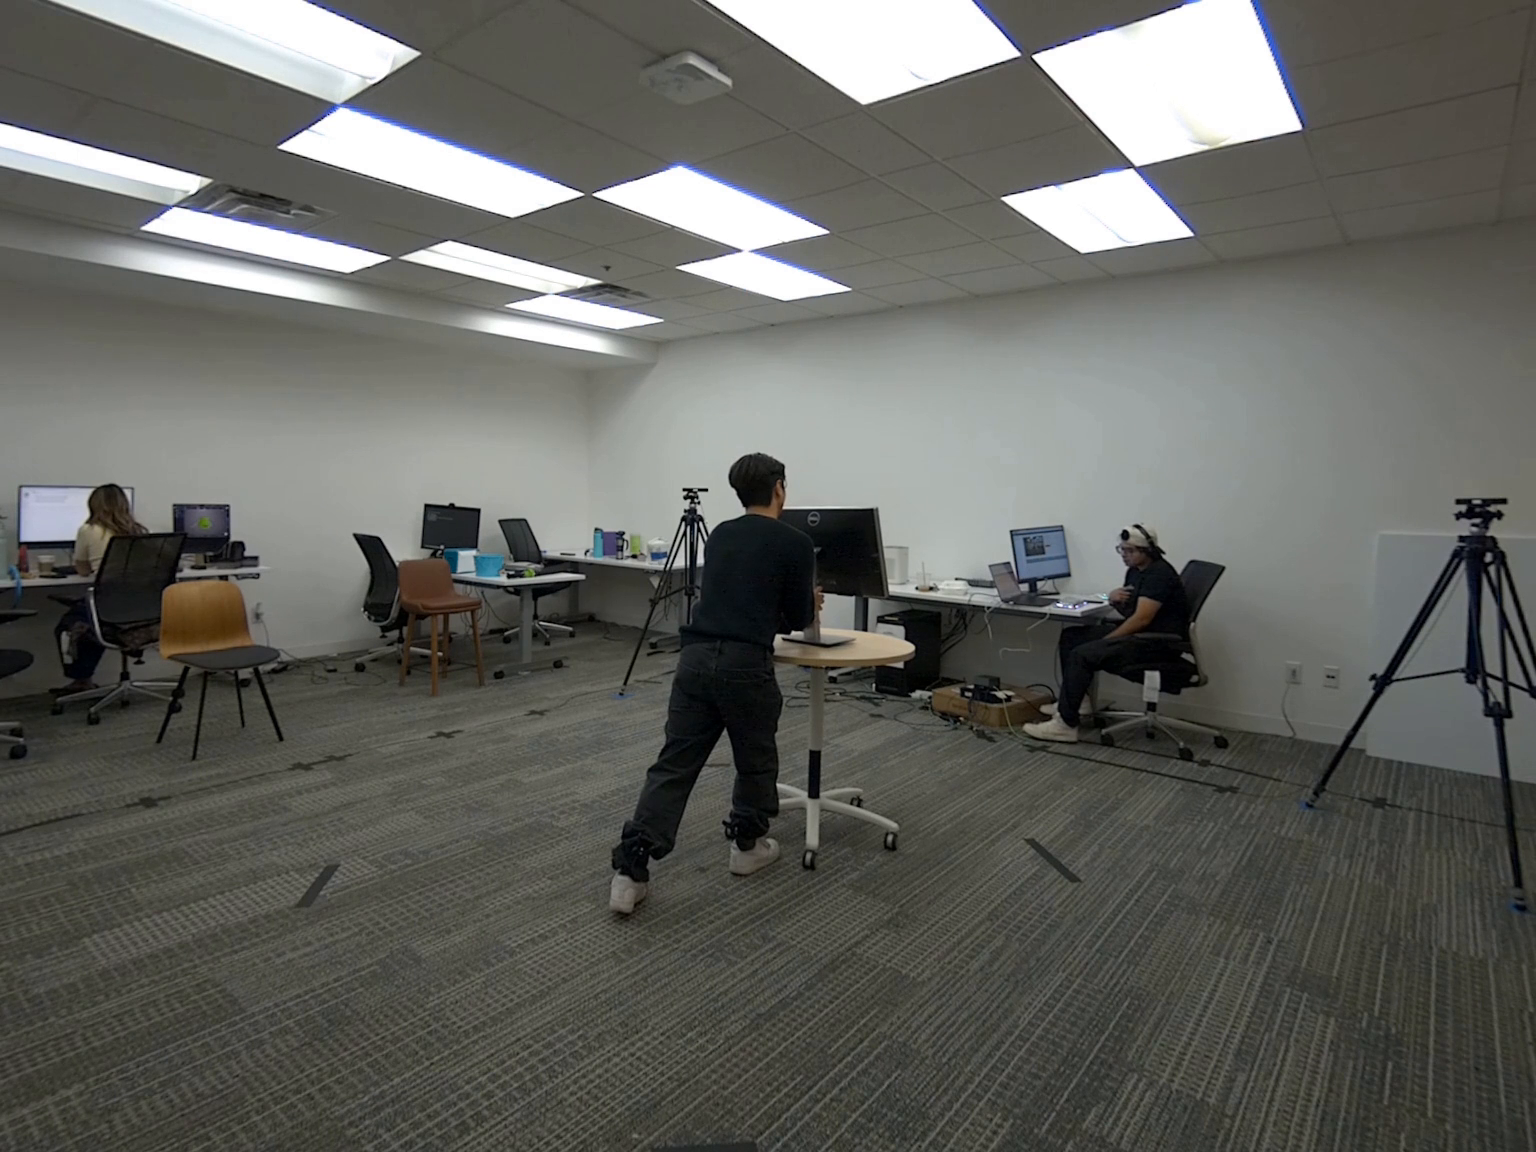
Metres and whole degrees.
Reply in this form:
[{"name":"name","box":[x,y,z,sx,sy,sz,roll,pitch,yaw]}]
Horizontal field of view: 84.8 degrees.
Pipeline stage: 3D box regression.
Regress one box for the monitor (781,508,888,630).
[{"name":"monitor","box":[0.202,-0.012,3.447,0.547,0.517,0.169,1,-2,40]}]
